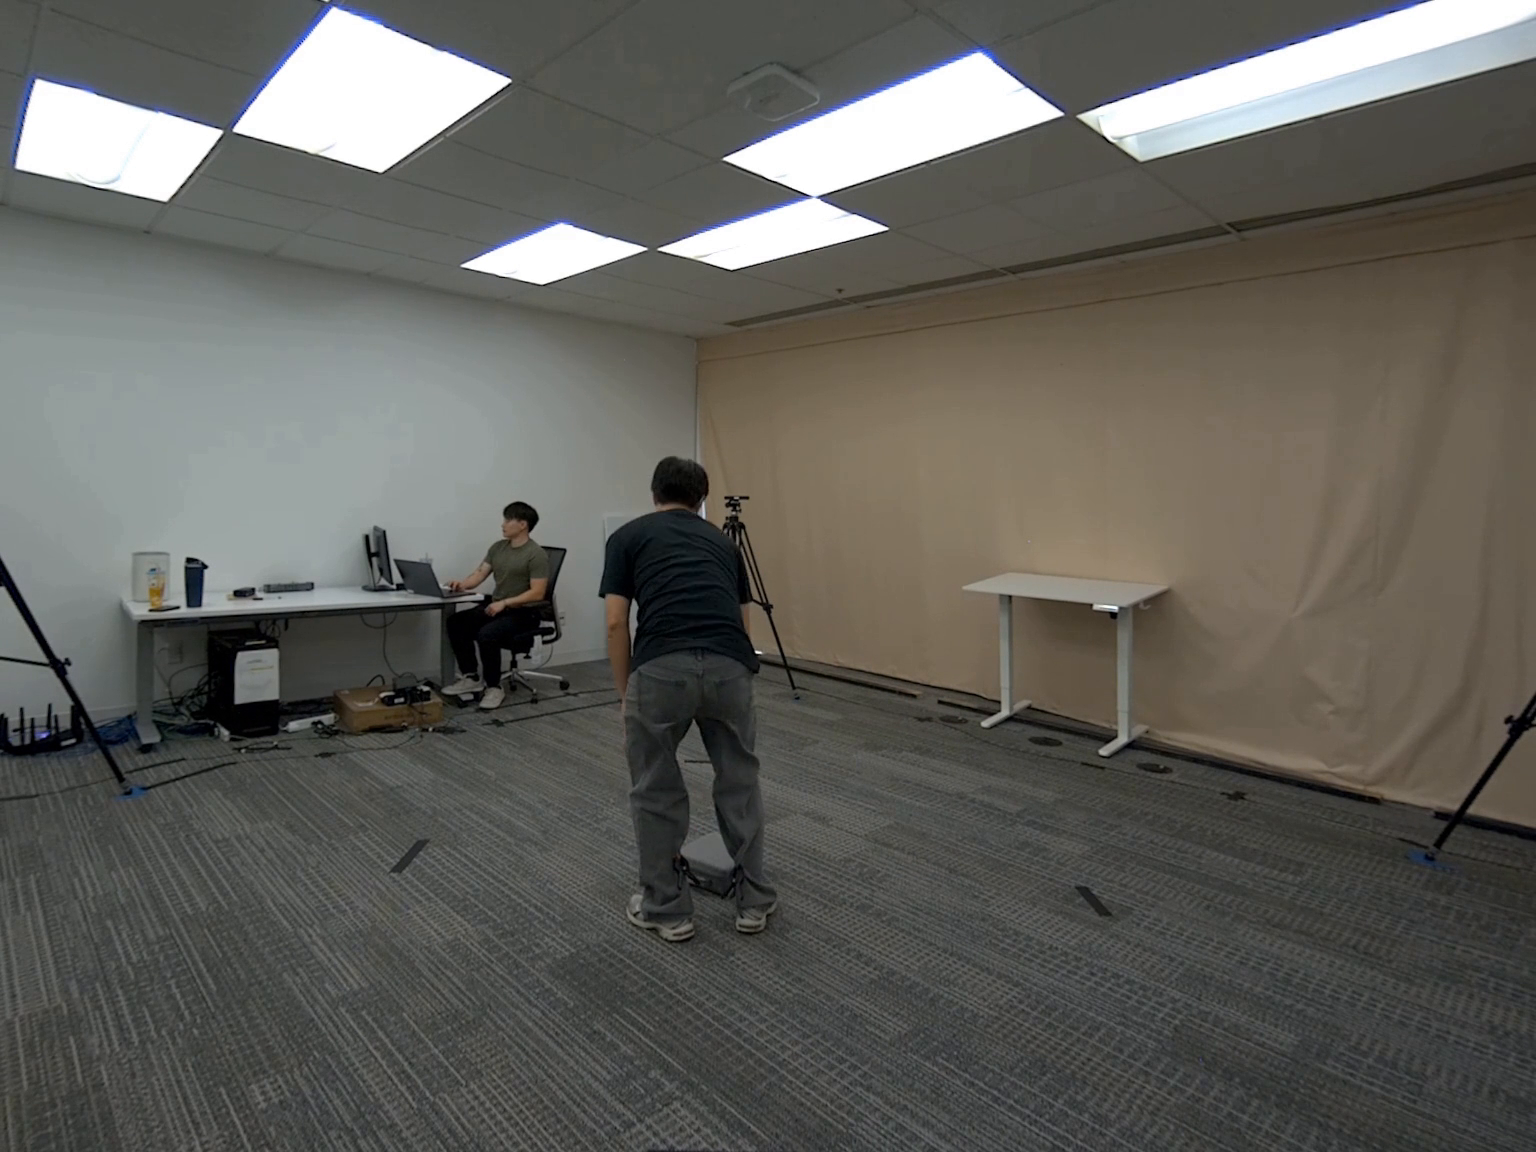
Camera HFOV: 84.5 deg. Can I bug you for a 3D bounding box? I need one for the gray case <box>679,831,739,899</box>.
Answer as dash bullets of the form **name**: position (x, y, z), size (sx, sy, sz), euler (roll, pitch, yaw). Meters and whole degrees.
- **gray case**: position (-0.191, 1.054, 3.088), size (0.269, 0.103, 0.281), euler (5, 7, 35)
